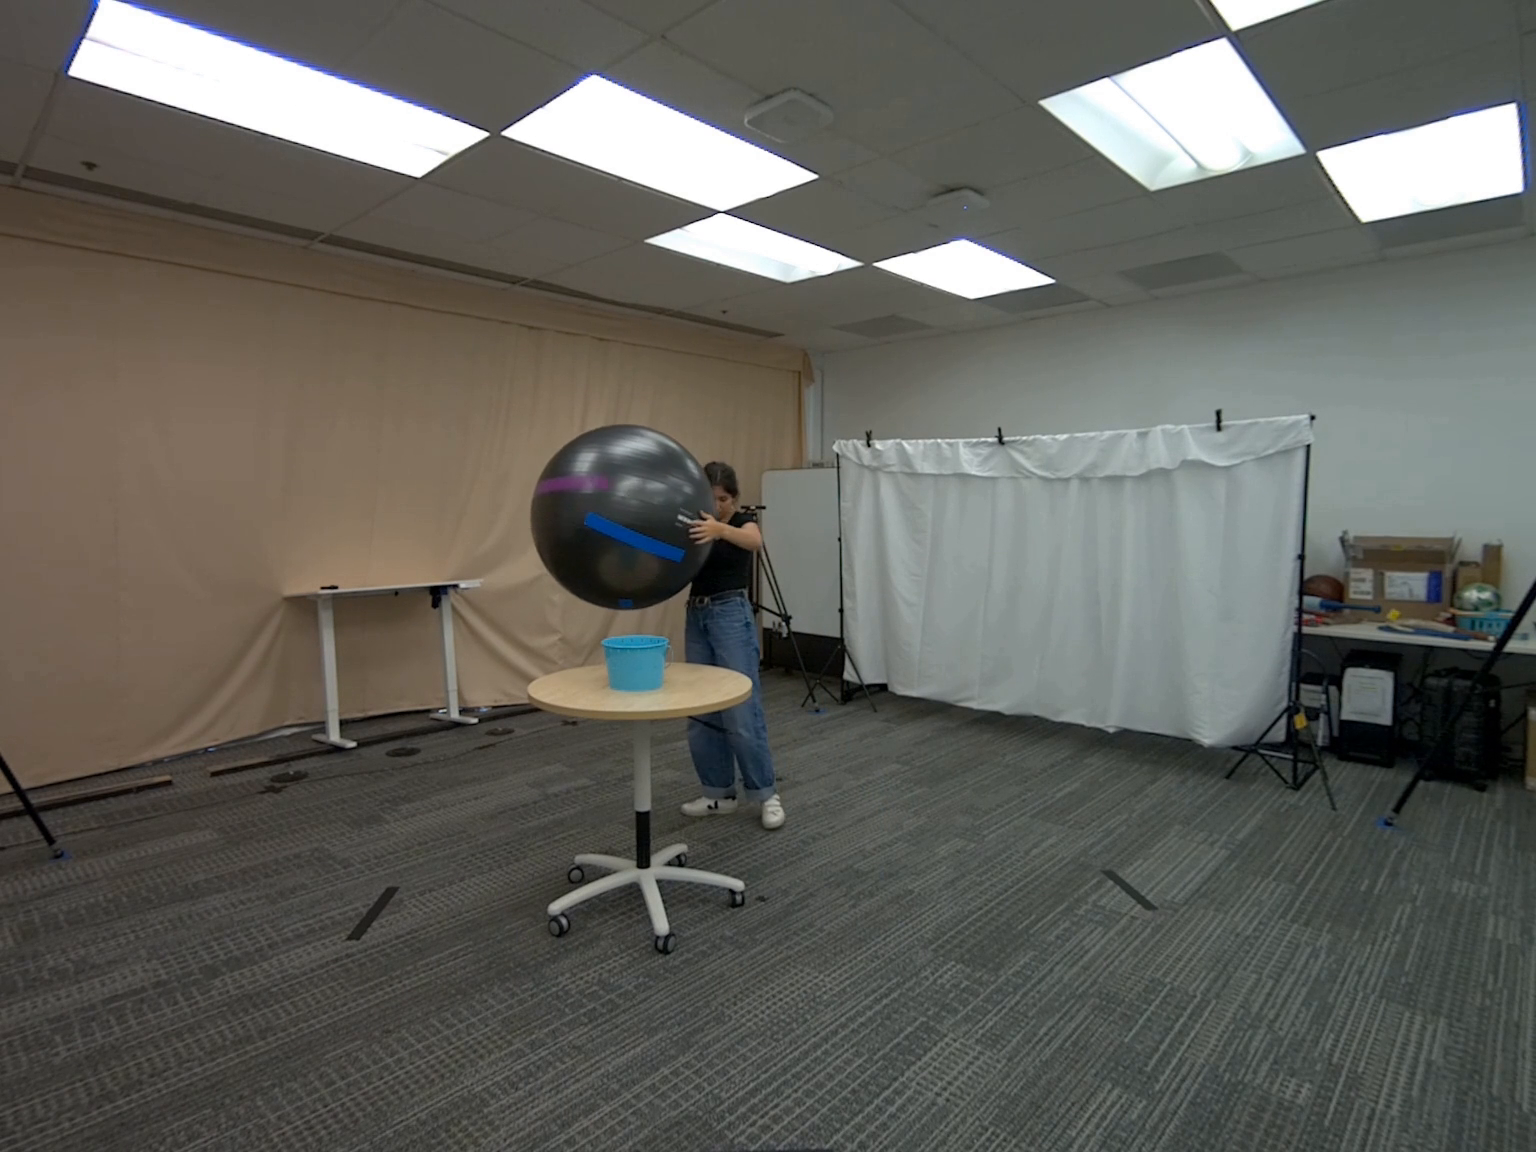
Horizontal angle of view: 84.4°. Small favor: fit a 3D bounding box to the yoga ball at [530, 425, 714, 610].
[{"bbox_3d":[-0.592,-0.239,3.475,0.757,0.756,0.760,0,4,-2],"label":"yoga ball"}]
